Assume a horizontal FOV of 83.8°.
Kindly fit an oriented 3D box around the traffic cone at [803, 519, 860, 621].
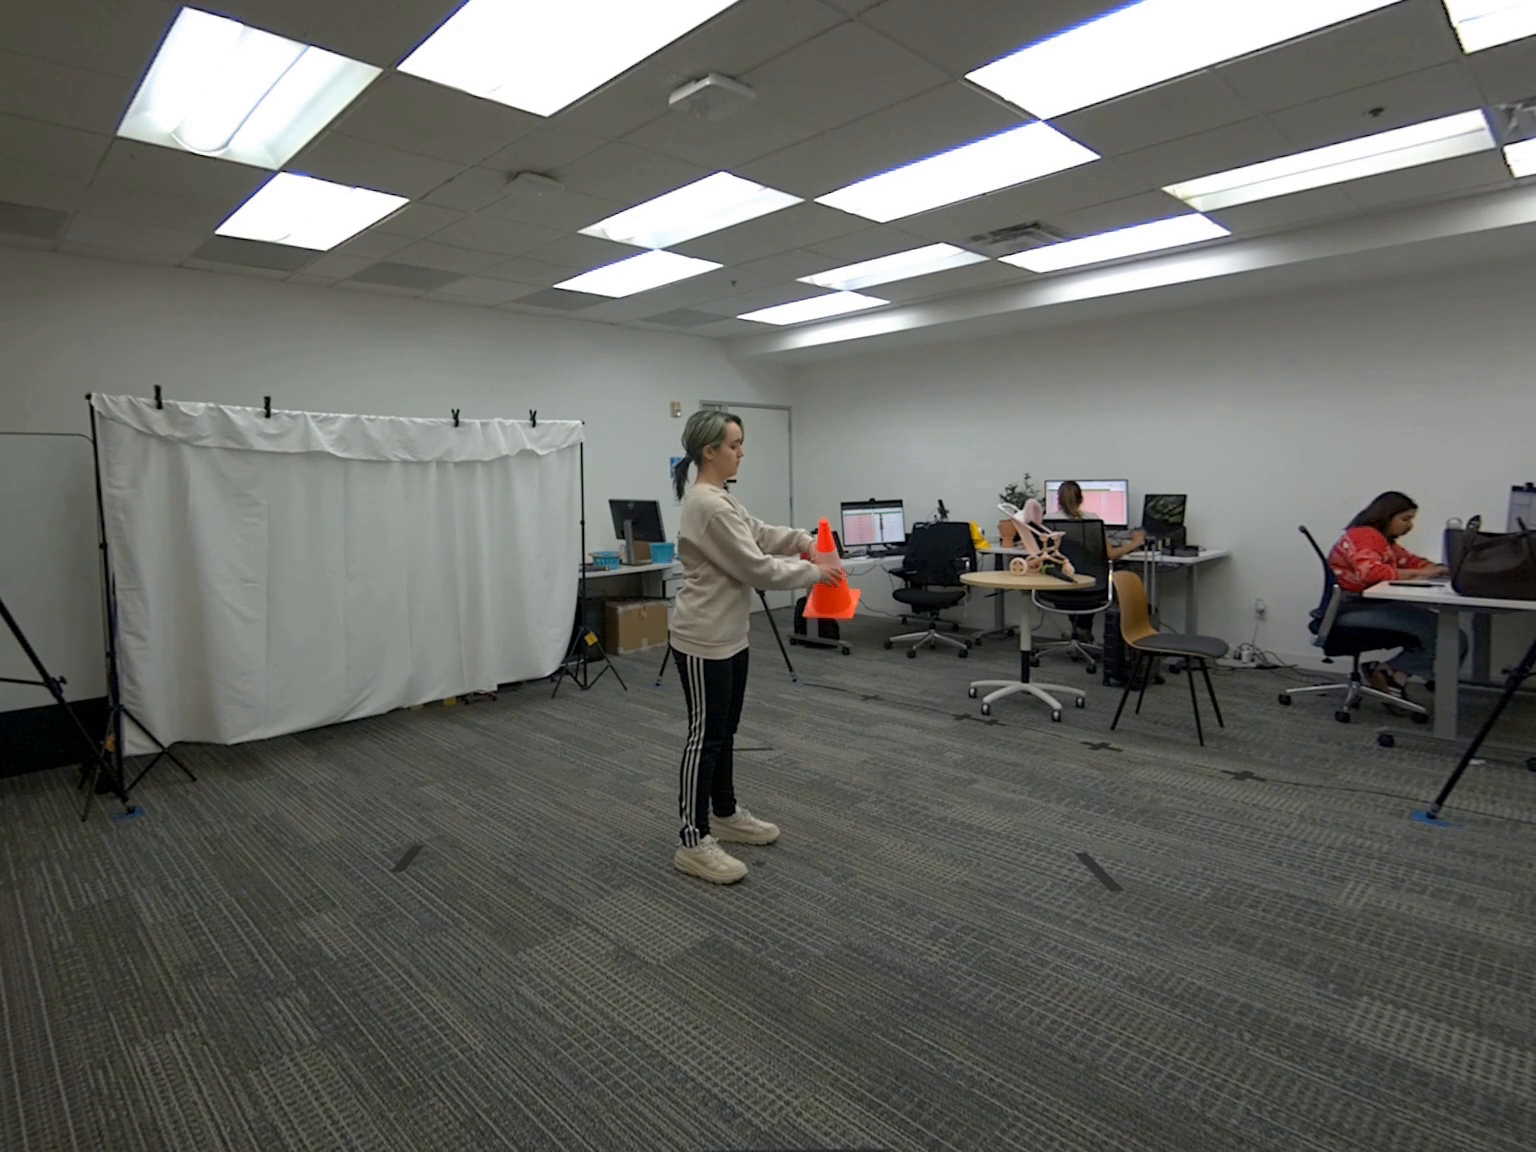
[{"bbox_3d":[0.220,-0.047,3.266,0.208,0.373,0.206,4,33,21],"label":"traffic cone"}]
